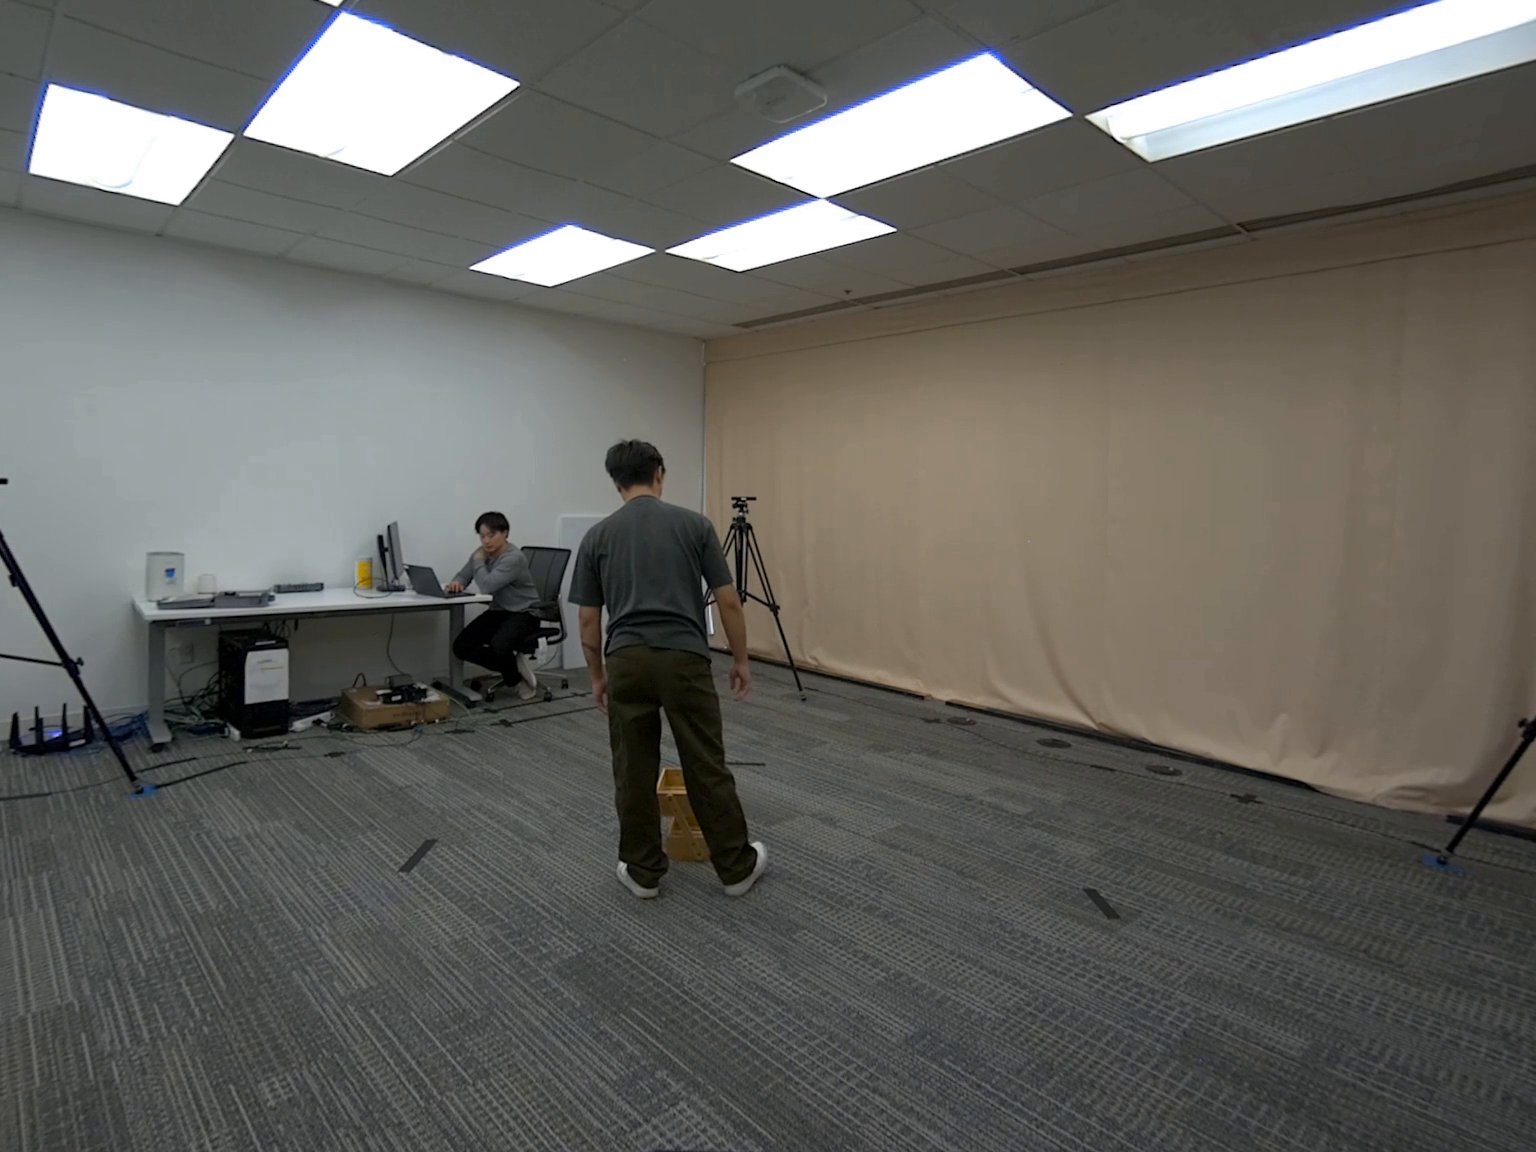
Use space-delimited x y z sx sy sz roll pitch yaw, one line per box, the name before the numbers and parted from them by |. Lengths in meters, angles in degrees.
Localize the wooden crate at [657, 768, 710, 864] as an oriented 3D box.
wooden crate | -0.289 0.944 3.373 0.302 0.273 0.325 1 4 0
